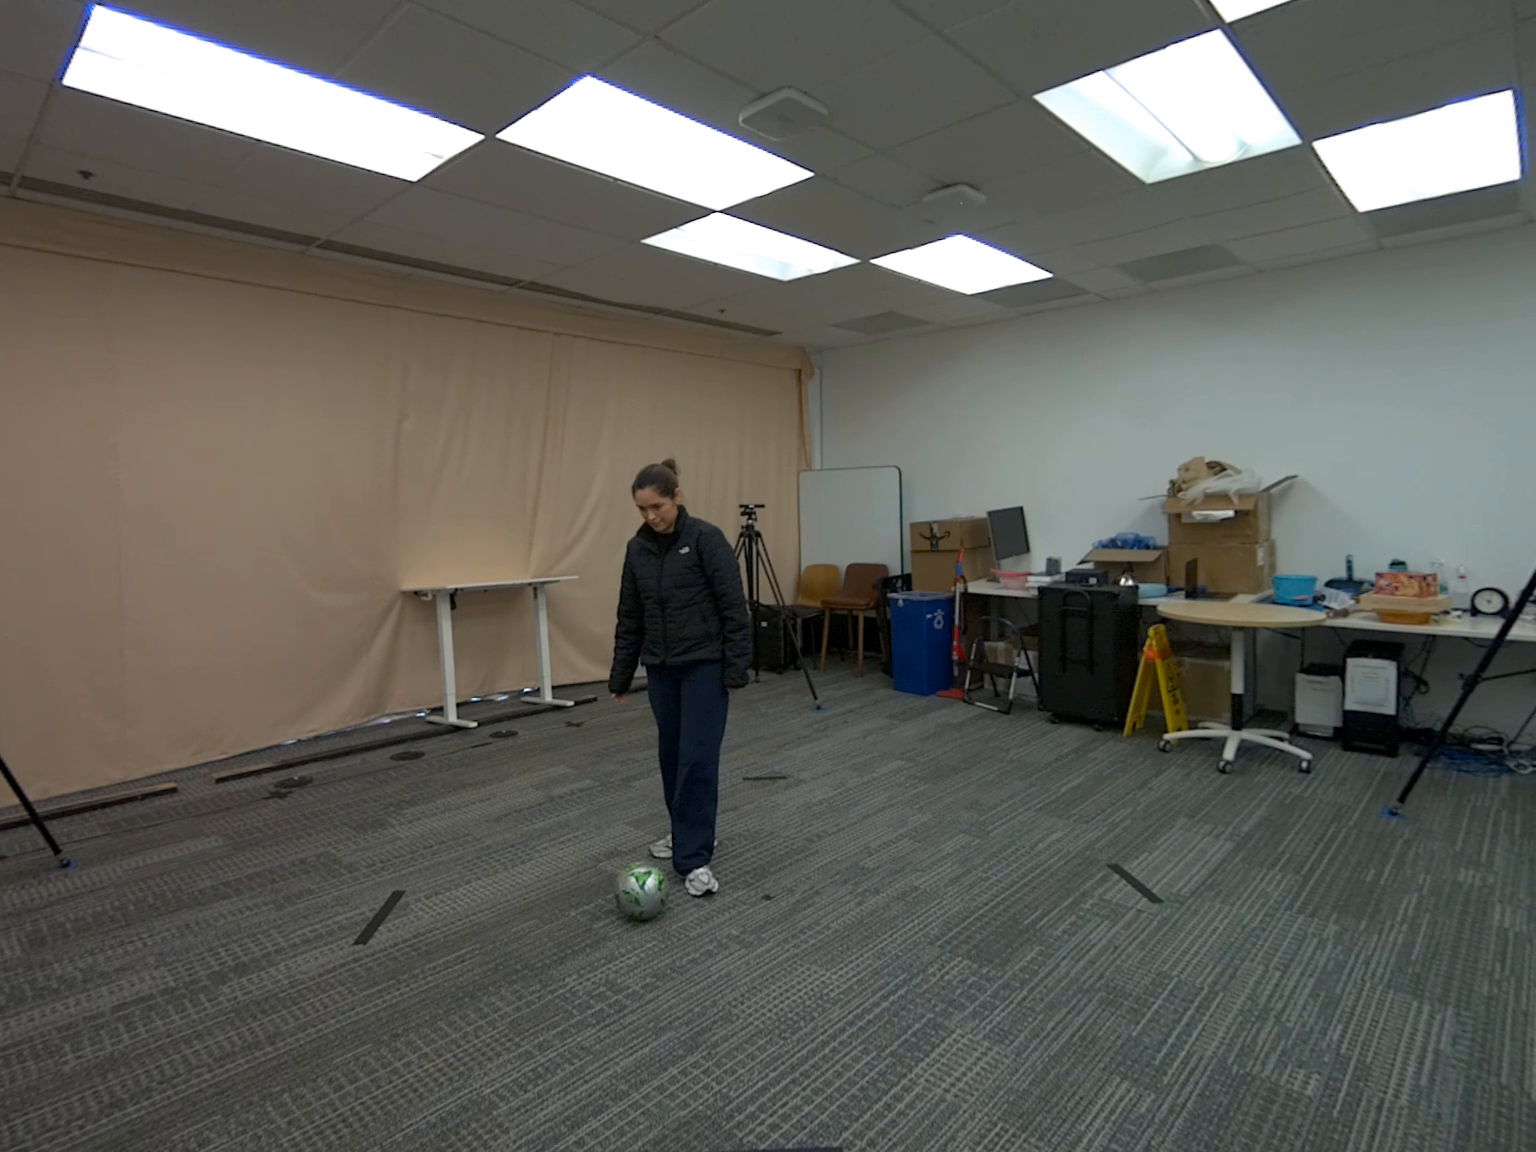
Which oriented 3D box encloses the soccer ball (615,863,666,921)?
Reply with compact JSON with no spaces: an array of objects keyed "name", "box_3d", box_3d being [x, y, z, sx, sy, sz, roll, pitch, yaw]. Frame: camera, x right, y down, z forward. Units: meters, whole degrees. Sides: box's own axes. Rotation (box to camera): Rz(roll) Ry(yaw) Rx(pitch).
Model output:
[{"name":"soccer ball","box_3d":[-0.430,1.060,2.862,0.187,0.187,0.188,-1,4,-2]}]
